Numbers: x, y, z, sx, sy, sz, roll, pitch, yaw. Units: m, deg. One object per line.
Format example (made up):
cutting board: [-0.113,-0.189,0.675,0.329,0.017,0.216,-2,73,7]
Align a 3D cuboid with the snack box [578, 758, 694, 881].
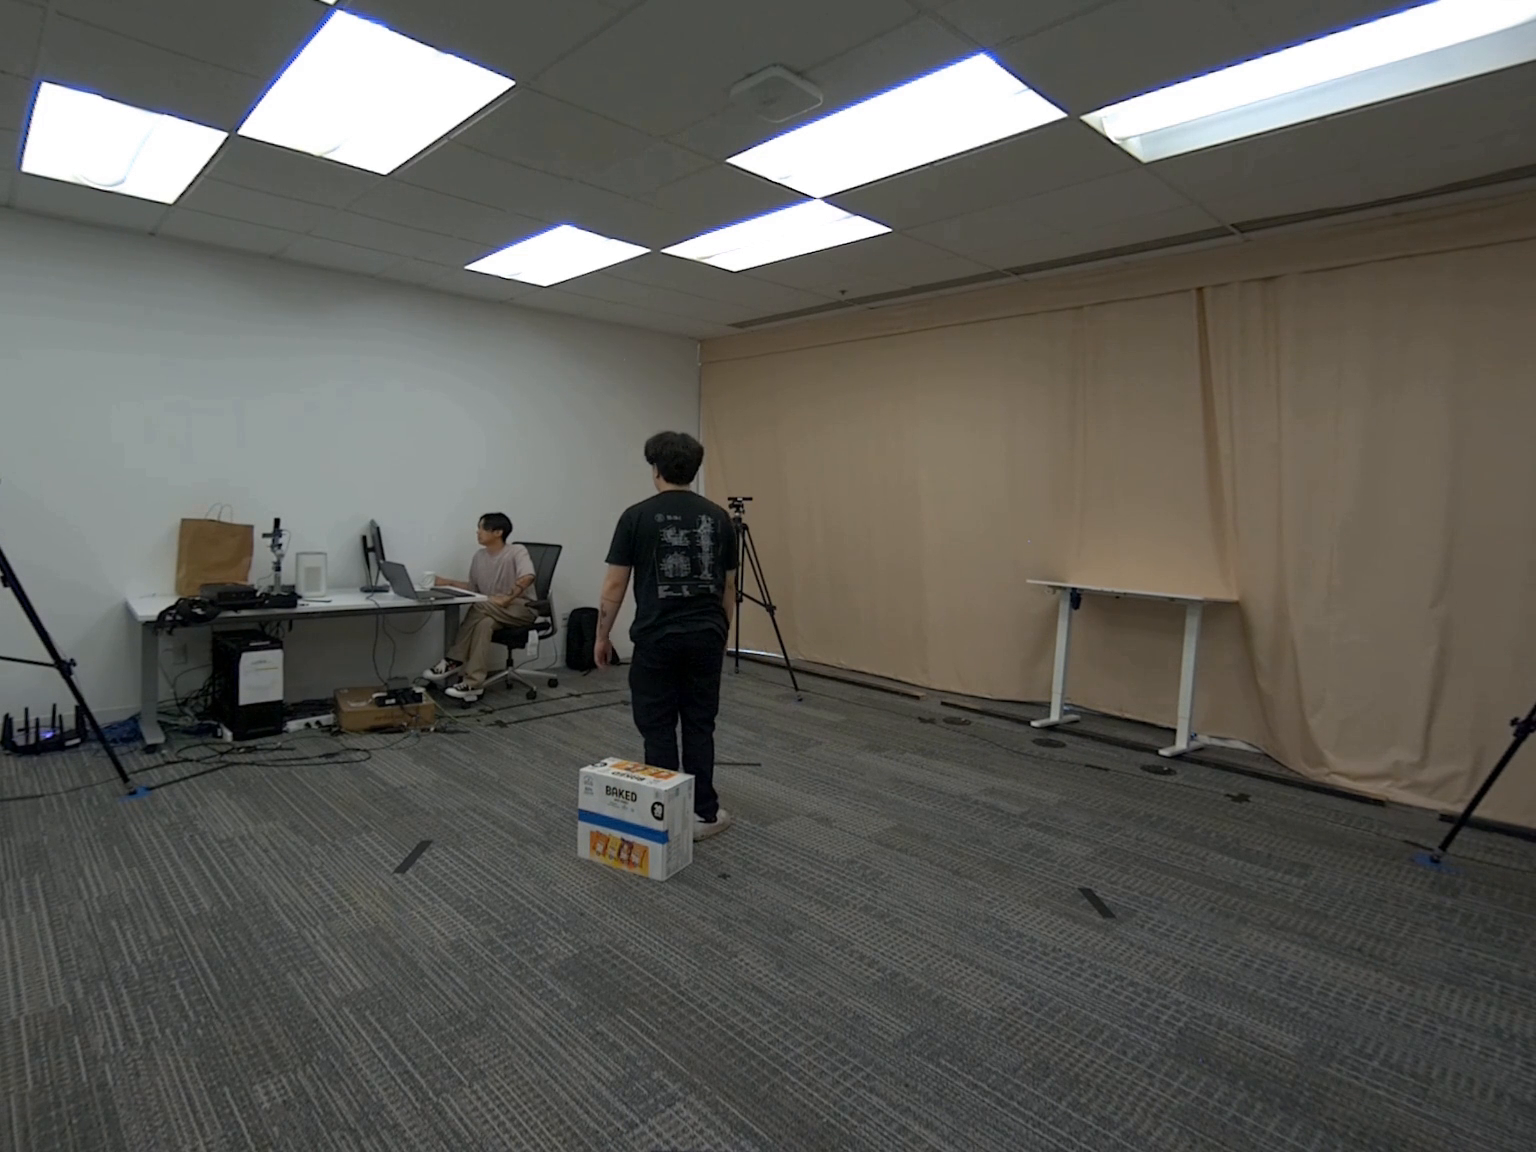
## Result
snack box: [-0.515,0.920,3.218,0.414,0.339,0.202,5,4,29]
